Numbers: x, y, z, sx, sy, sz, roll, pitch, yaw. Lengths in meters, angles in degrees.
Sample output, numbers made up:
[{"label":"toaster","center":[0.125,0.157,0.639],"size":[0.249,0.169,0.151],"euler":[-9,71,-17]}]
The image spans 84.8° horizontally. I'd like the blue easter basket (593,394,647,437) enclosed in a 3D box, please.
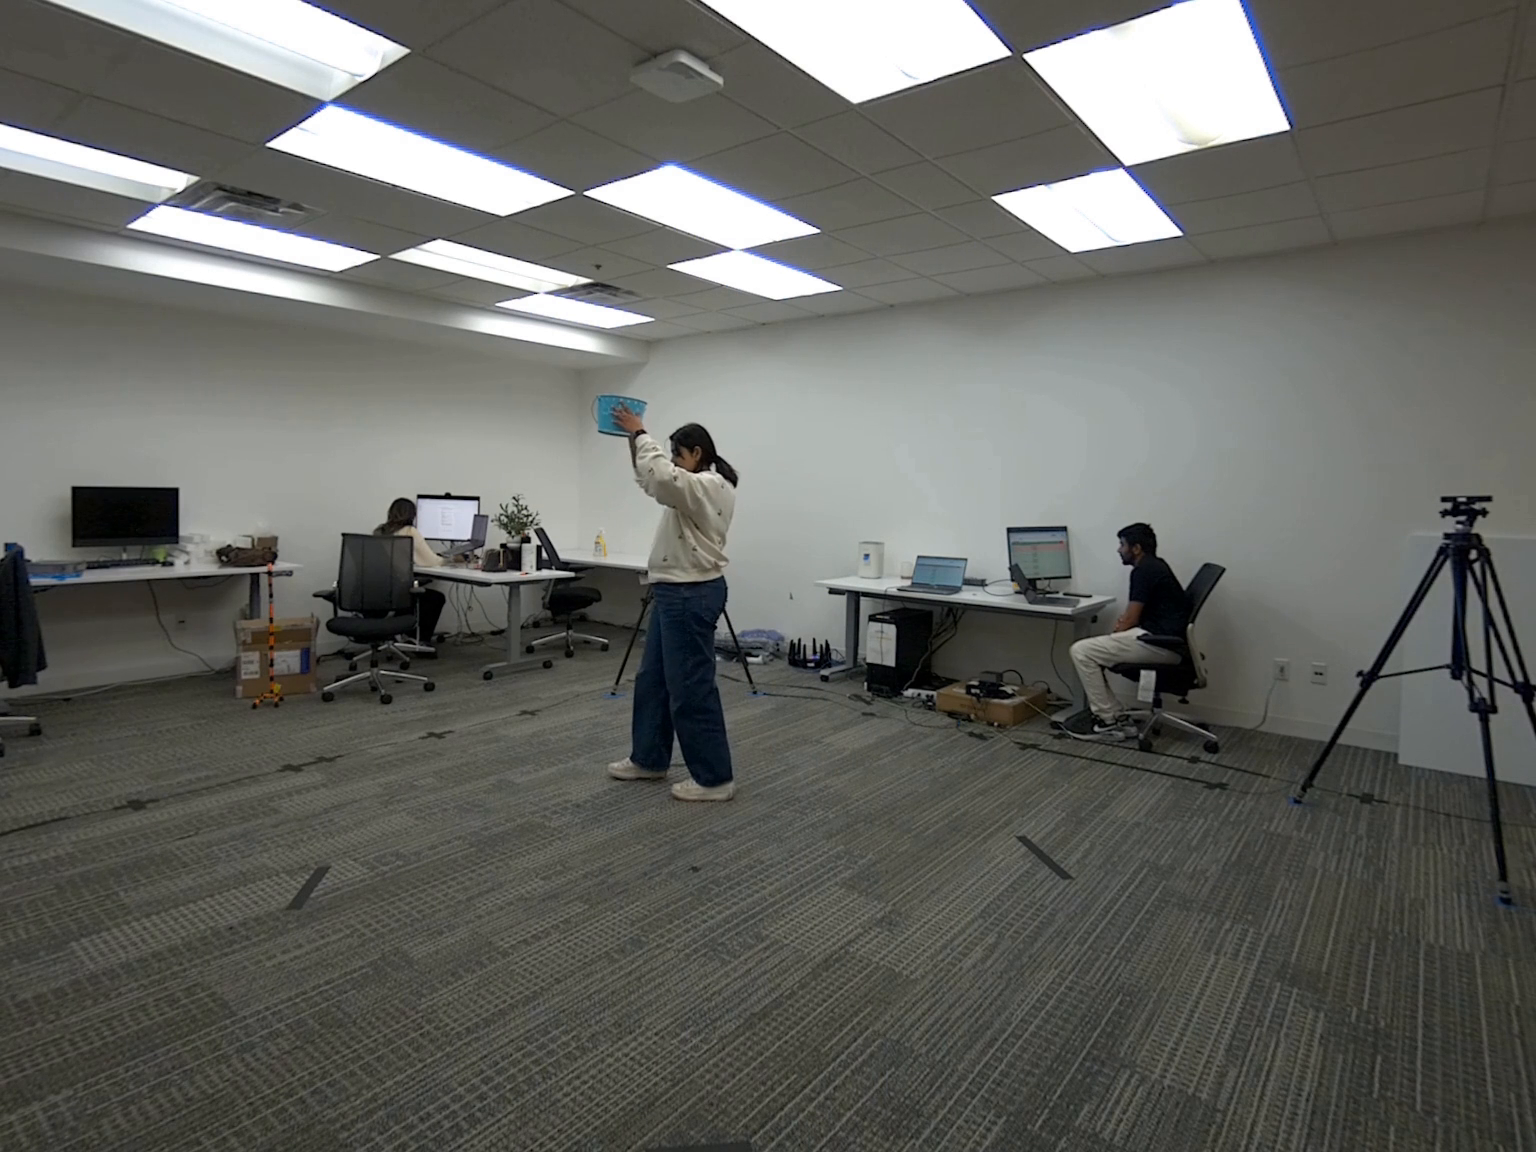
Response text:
[{"label":"blue easter basket","center":[-0.681,-0.717,3.799],"size":[0.243,0.156,0.244],"euler":[7,1,-2]}]
